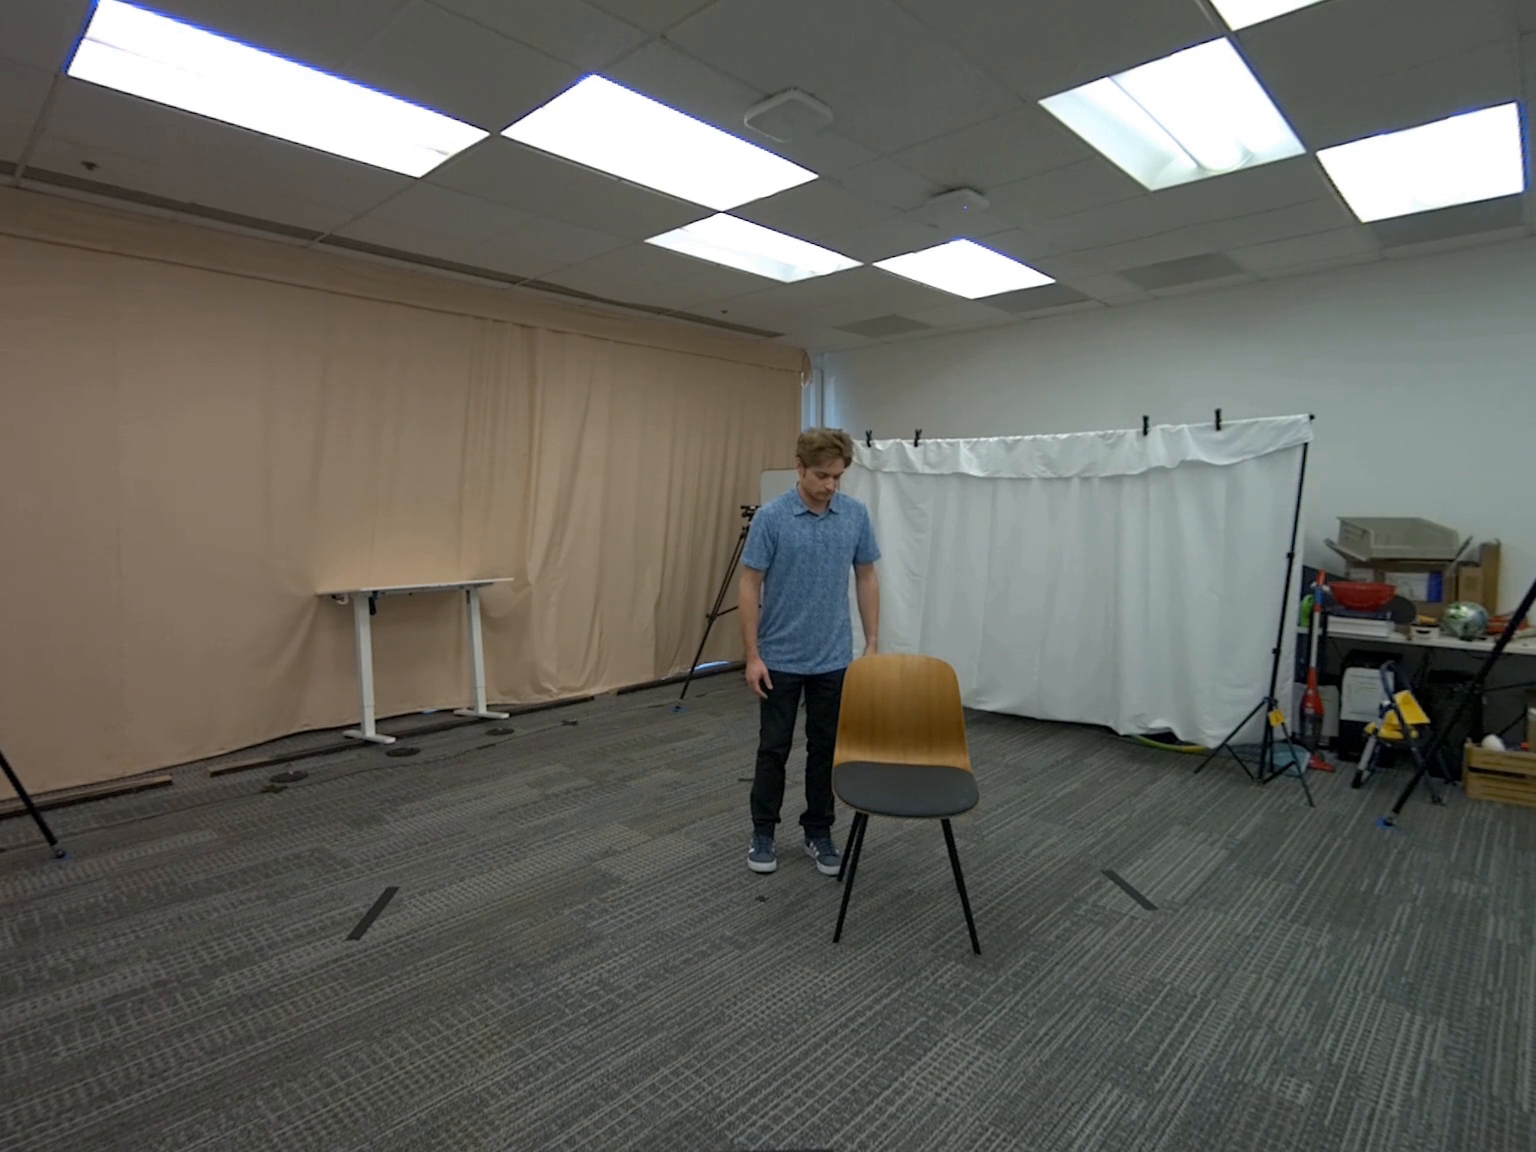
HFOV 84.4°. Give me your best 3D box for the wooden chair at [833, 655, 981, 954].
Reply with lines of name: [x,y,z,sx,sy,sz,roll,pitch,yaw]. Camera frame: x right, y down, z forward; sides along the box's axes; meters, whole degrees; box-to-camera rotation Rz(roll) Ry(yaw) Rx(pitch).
wooden chair: [0.461,0.729,2.823,0.483,0.878,0.518,1,-1,8]
